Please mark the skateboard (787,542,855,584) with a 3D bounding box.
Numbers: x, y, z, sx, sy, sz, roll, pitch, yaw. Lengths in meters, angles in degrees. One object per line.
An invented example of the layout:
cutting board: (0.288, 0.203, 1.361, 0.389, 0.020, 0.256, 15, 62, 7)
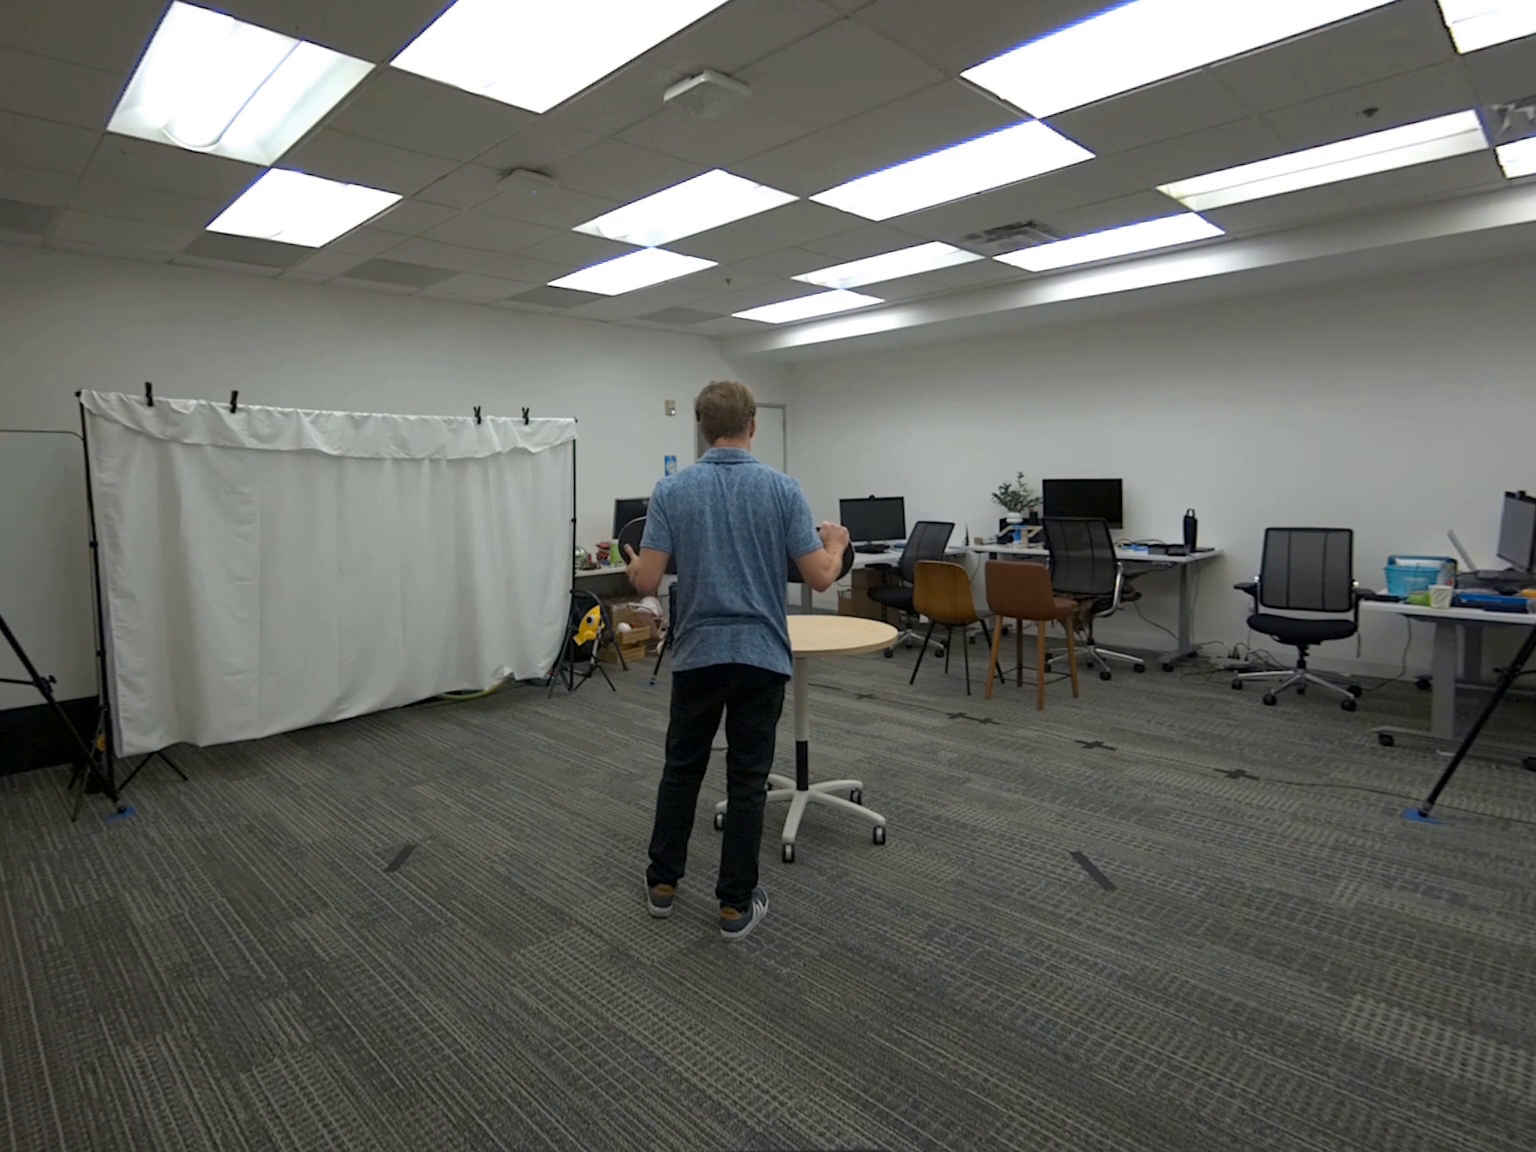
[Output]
skateboard: (-0.102, -0.082, 2.885, 0.791, 0.193, 0.109, 3, 0, 7)
